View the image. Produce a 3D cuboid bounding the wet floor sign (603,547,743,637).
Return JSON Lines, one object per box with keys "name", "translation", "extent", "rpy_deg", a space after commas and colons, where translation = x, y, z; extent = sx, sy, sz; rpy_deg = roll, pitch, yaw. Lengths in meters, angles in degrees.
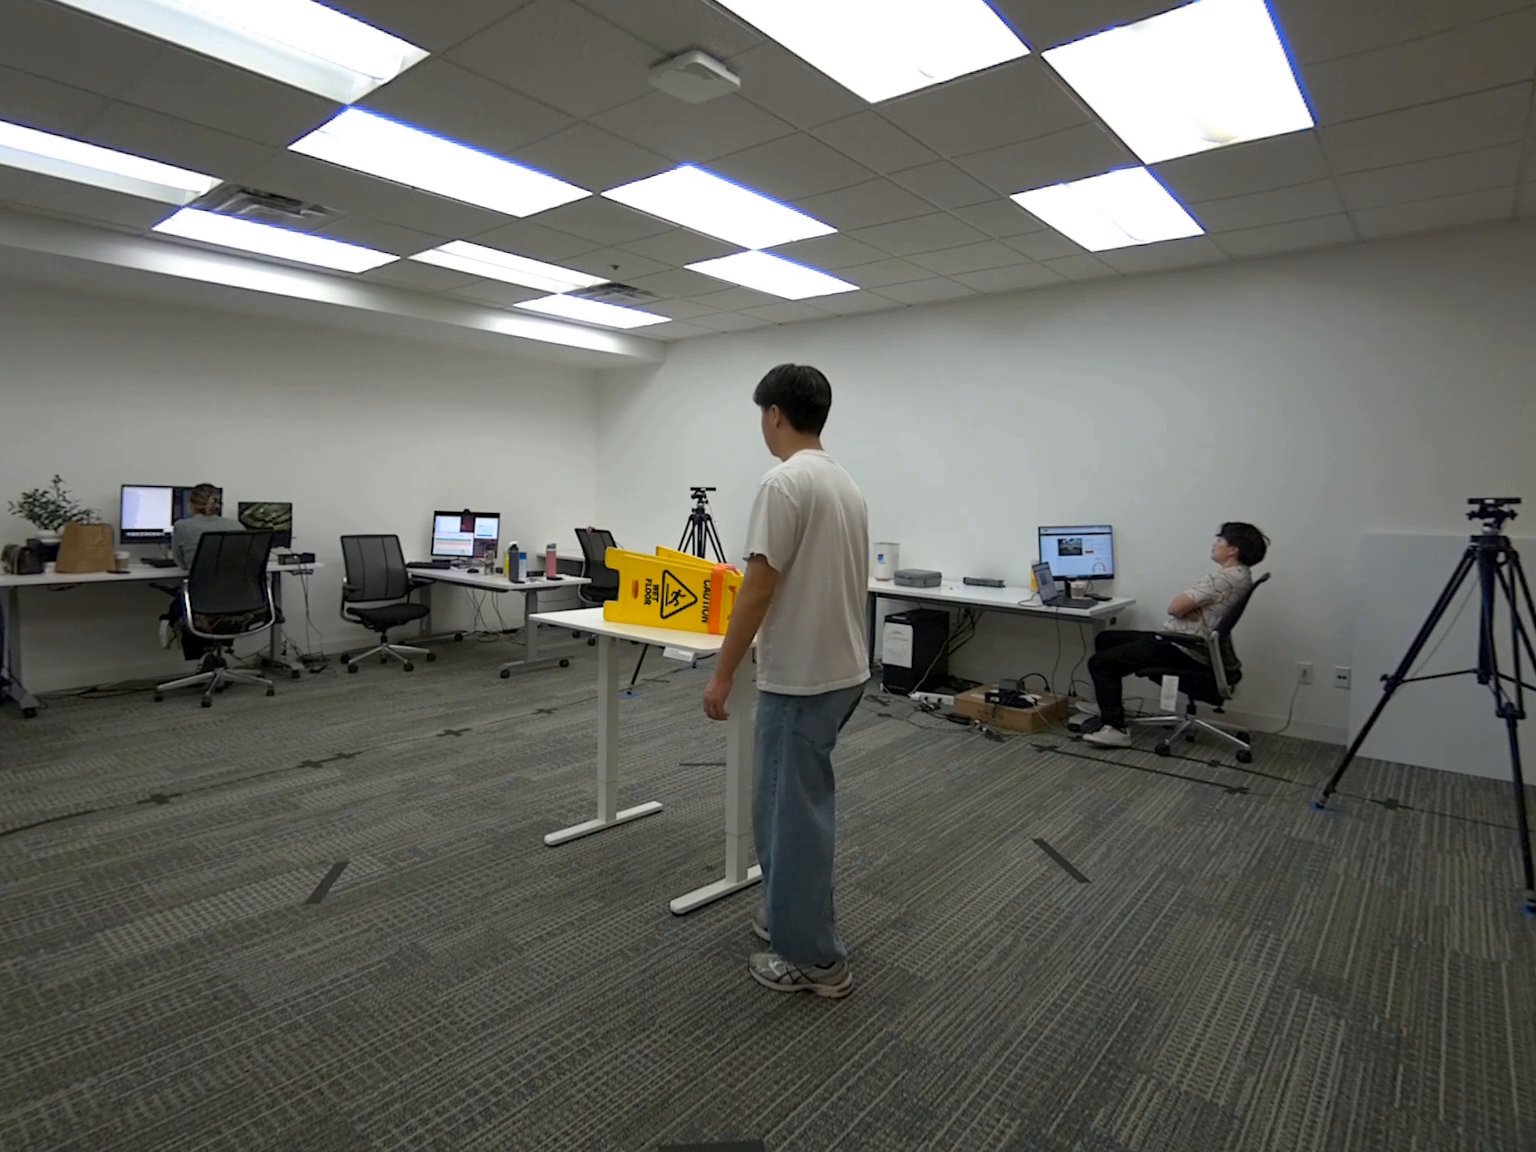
{"name": "wet floor sign", "translation": [-0.301, 0.059, 3.071], "extent": [0.669, 0.281, 0.281], "rpy_deg": [9, 8, 43]}
